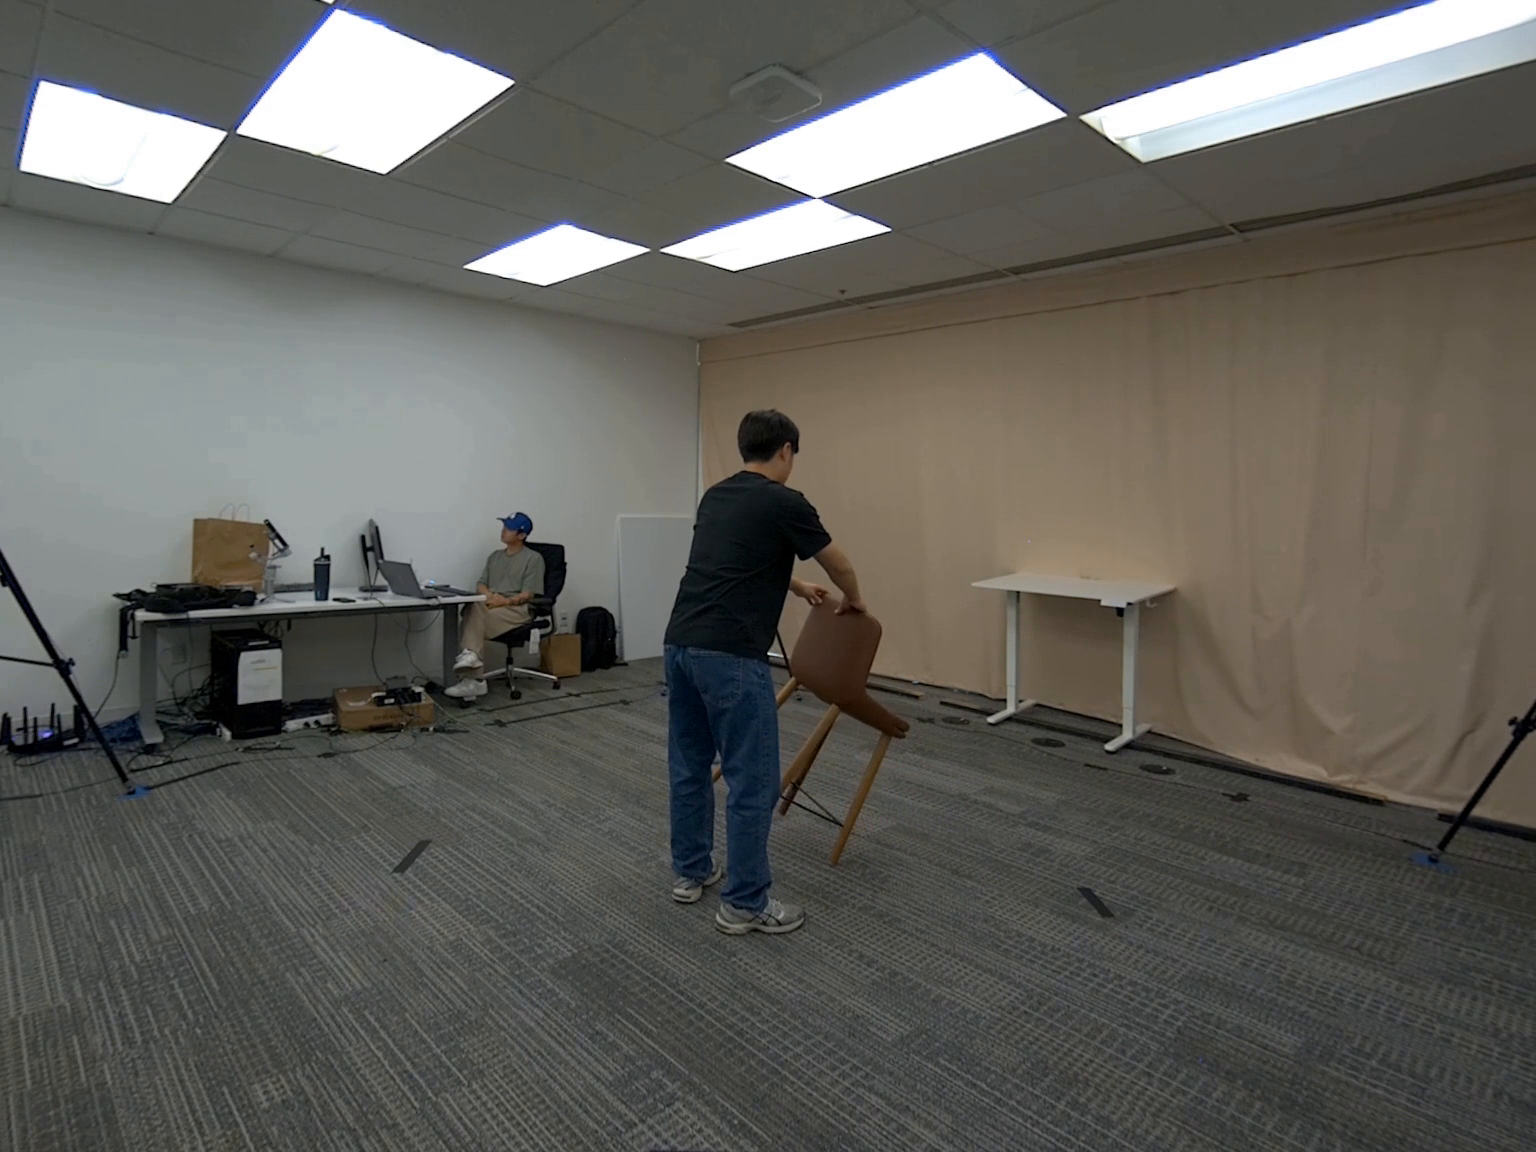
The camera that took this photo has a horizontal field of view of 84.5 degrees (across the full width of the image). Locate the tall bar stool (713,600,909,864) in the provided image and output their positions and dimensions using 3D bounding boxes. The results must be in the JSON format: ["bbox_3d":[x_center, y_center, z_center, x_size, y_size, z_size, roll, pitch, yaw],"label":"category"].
[{"bbox_3d":[0.227,0.583,3.306,0.454,0.890,0.469,31,-4,-33],"label":"tall bar stool"}]
